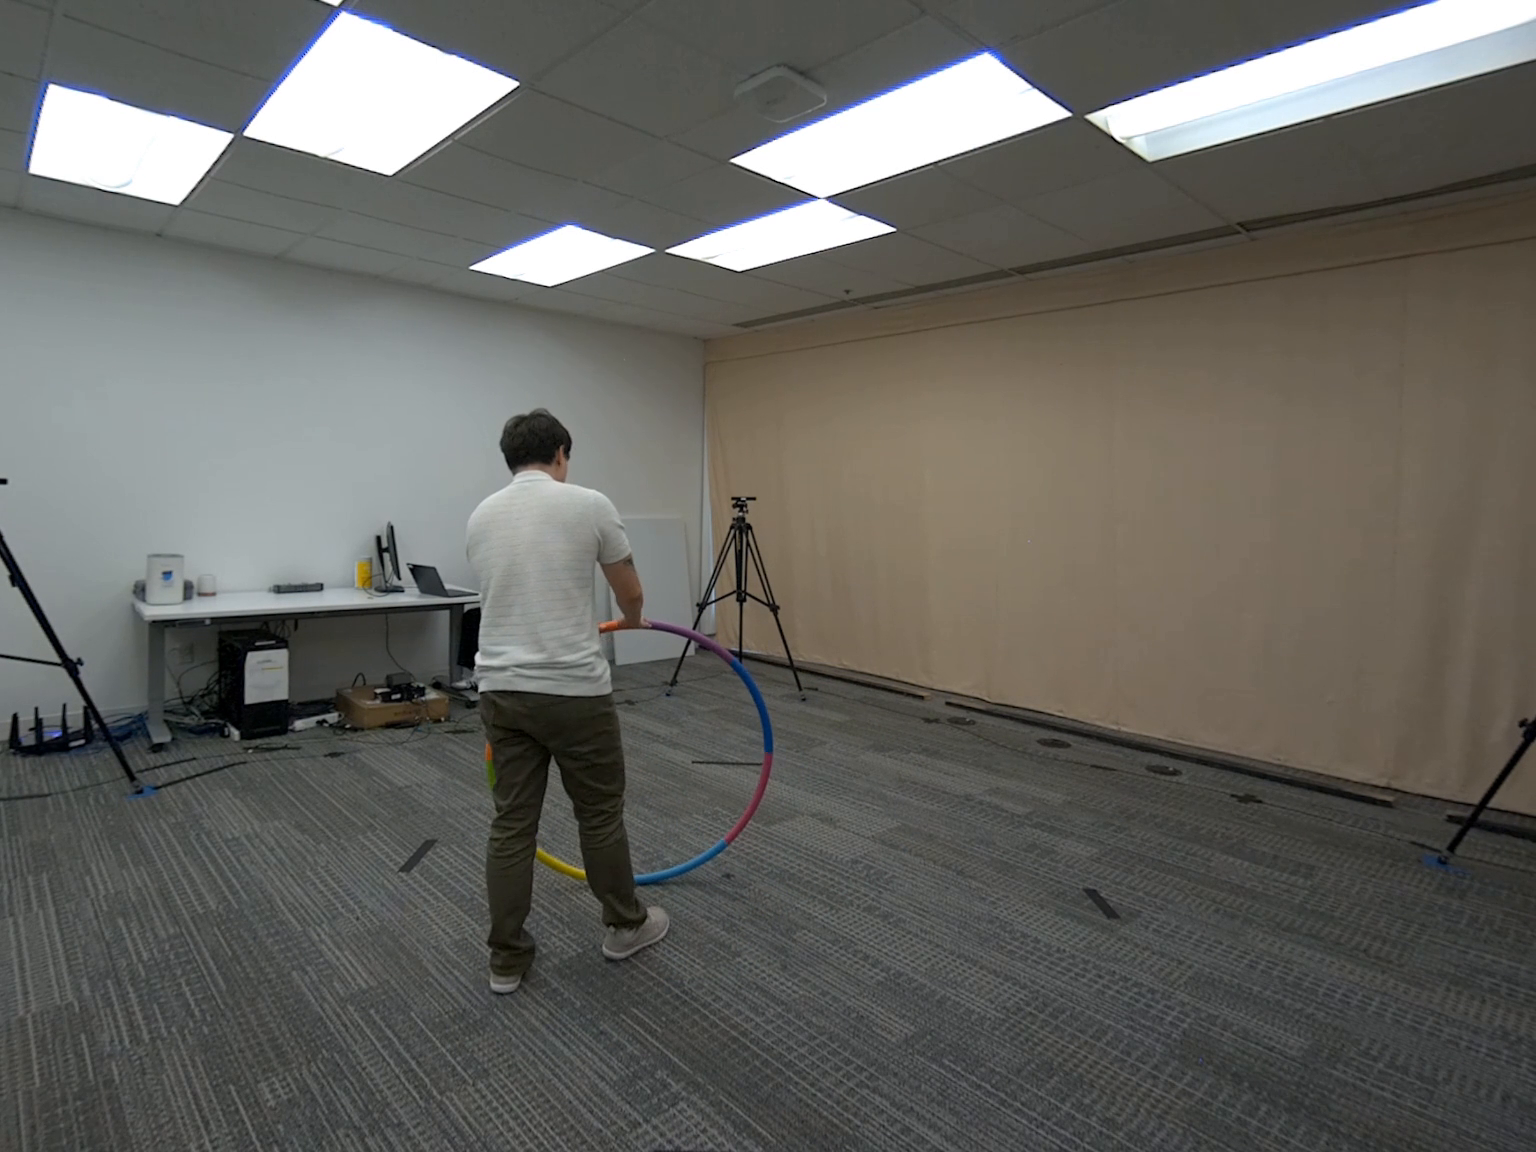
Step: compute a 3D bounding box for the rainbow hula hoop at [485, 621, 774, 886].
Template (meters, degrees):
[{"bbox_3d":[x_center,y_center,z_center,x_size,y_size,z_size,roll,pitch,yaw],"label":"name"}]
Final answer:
[{"bbox_3d":[-0.473,0.633,2.974,0.972,0.976,0.036,1,4,-8],"label":"rainbow hula hoop"}]
